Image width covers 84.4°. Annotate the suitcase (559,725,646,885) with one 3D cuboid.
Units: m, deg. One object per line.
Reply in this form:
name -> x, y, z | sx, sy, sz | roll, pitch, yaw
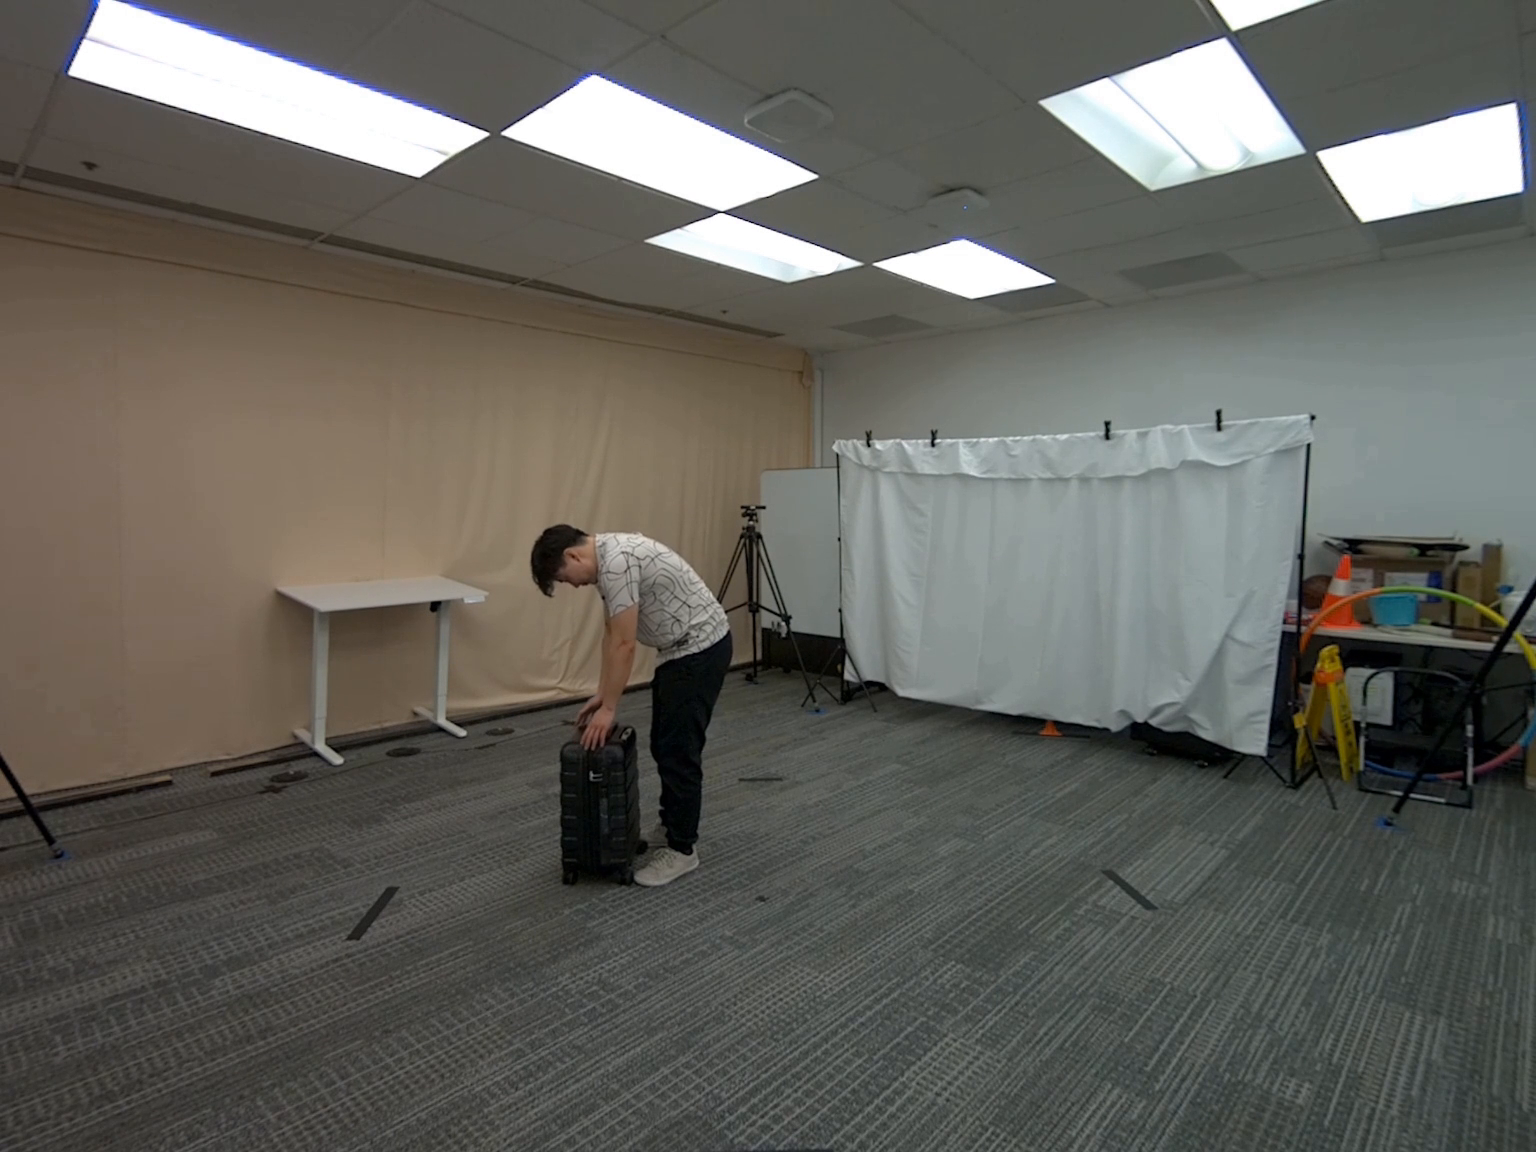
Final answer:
suitcase -> -0.644, 0.857, 3.224 | 0.249, 0.548, 0.374 | -2, 4, 3
